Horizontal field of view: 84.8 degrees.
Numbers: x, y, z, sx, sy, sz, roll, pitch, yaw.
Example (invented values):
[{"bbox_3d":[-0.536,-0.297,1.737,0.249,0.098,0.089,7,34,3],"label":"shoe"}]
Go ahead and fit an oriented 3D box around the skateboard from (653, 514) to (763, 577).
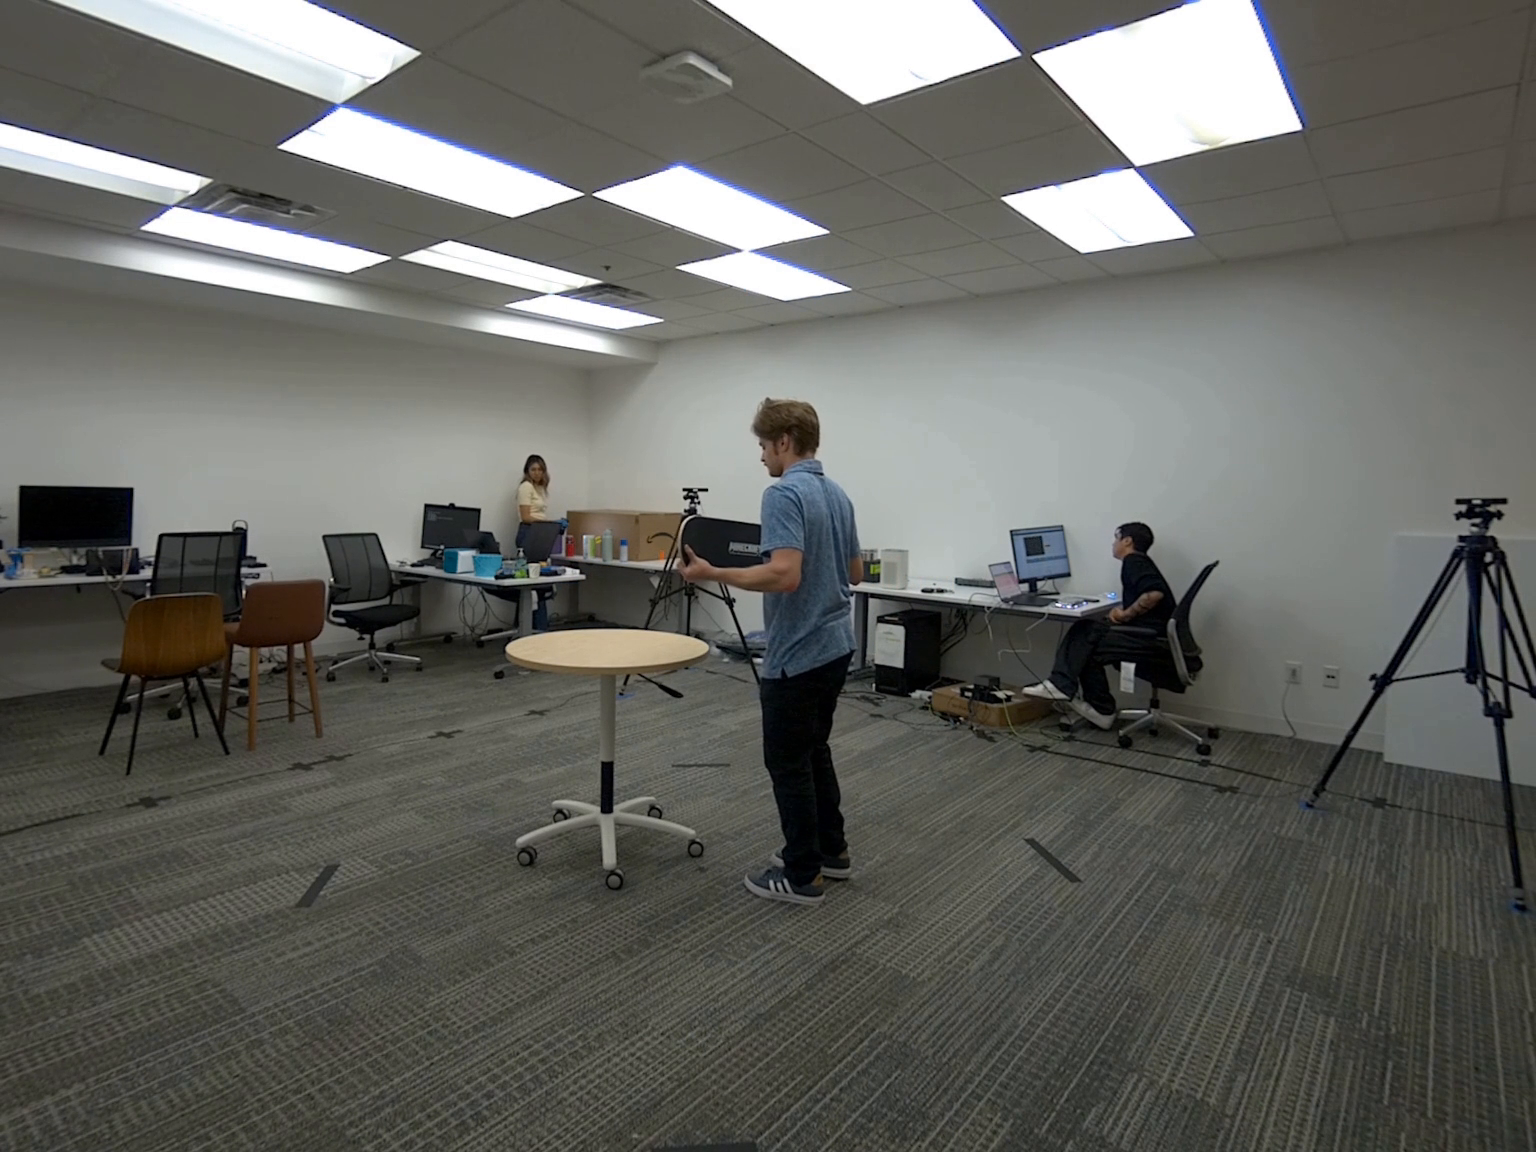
[{"bbox_3d":[-0.112,-0.095,3.033,0.113,0.194,0.760,-3,-3,35],"label":"skateboard"}]
